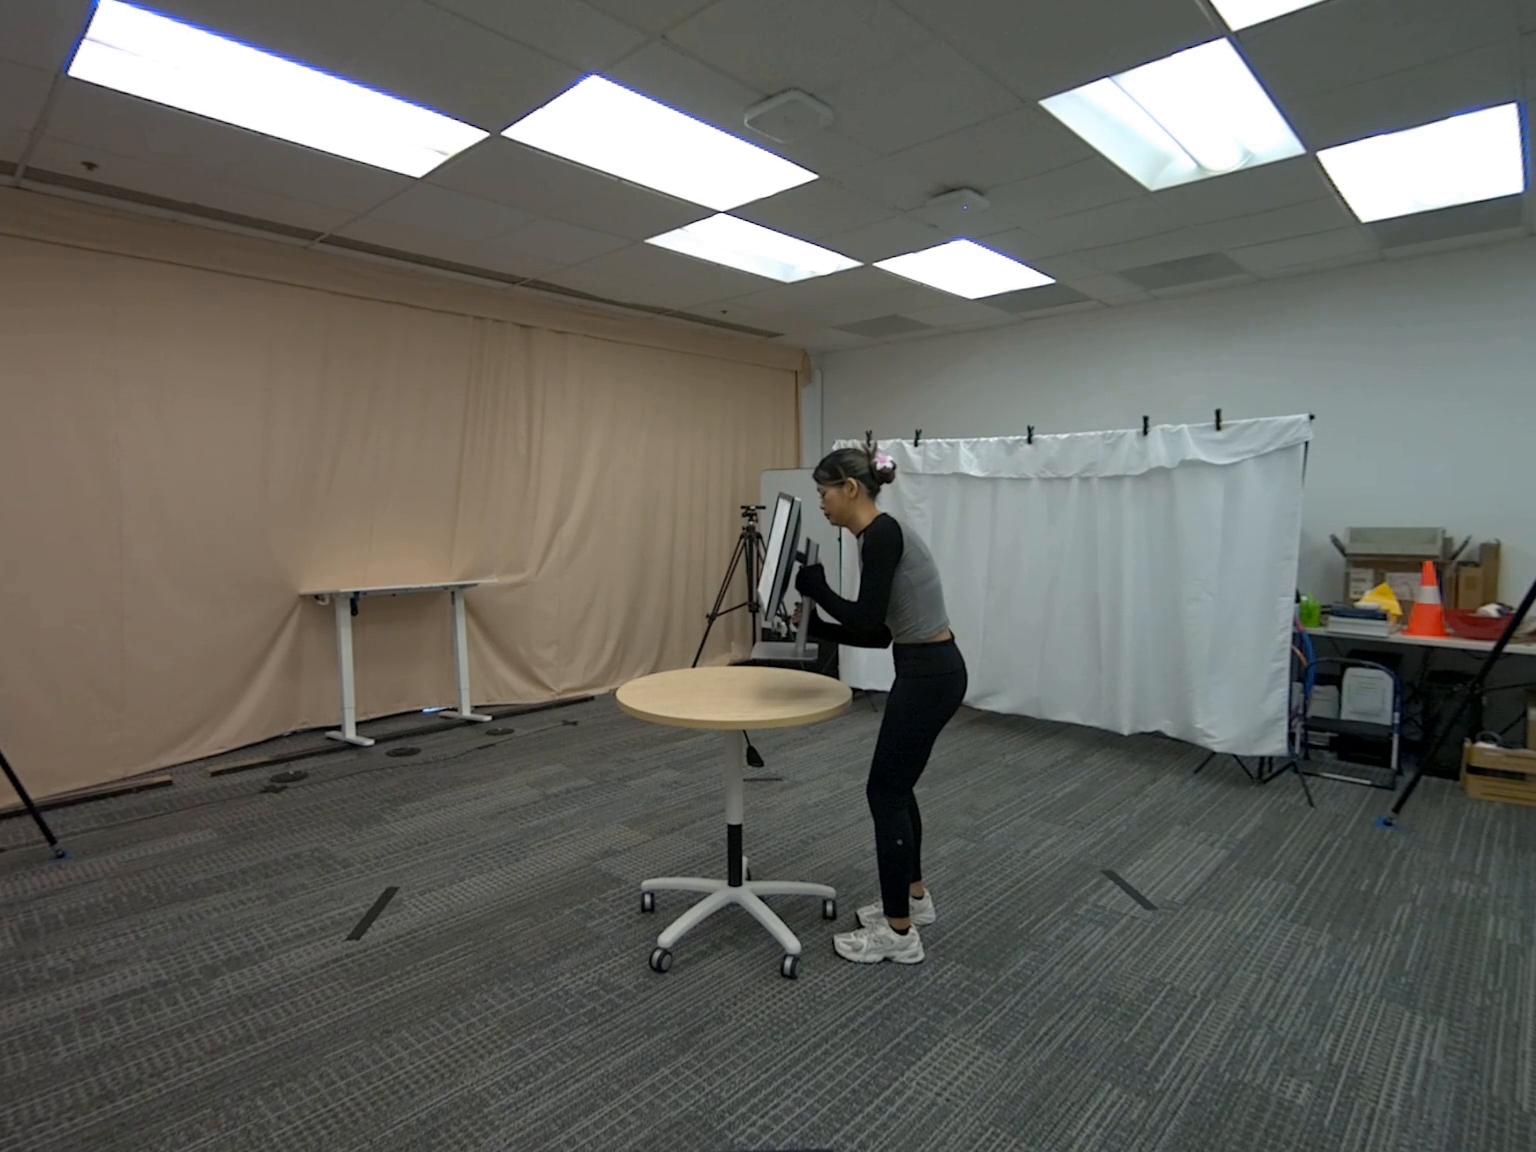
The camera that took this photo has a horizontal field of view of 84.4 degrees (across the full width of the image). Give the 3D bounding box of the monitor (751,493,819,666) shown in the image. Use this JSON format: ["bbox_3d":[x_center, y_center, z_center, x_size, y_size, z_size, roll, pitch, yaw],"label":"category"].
[{"bbox_3d":[0.073,0.004,2.672,0.187,0.520,0.542,0,7,-3],"label":"monitor"}]
